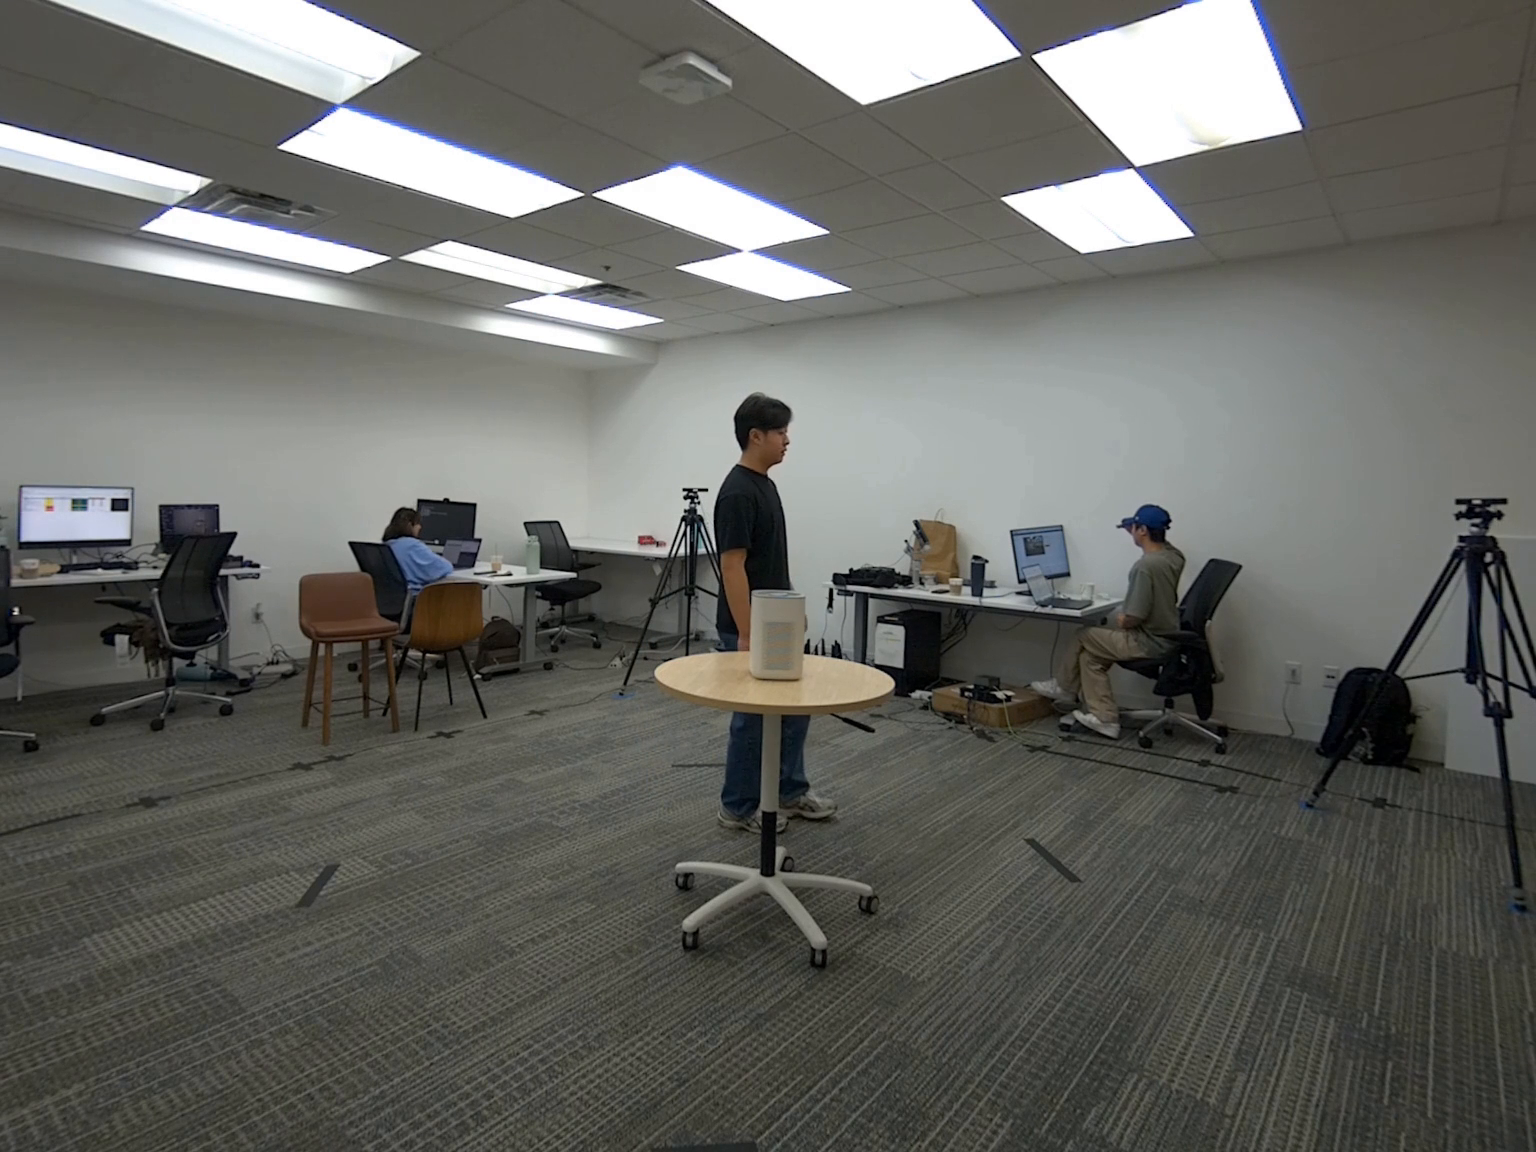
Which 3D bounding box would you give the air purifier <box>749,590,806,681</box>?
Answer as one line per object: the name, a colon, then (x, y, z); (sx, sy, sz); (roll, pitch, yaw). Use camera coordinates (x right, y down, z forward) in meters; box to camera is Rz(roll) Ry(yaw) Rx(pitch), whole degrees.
air purifier: (0.028, 0.183, 2.722); (0.172, 0.264, 0.171); (2, 4, 0)
